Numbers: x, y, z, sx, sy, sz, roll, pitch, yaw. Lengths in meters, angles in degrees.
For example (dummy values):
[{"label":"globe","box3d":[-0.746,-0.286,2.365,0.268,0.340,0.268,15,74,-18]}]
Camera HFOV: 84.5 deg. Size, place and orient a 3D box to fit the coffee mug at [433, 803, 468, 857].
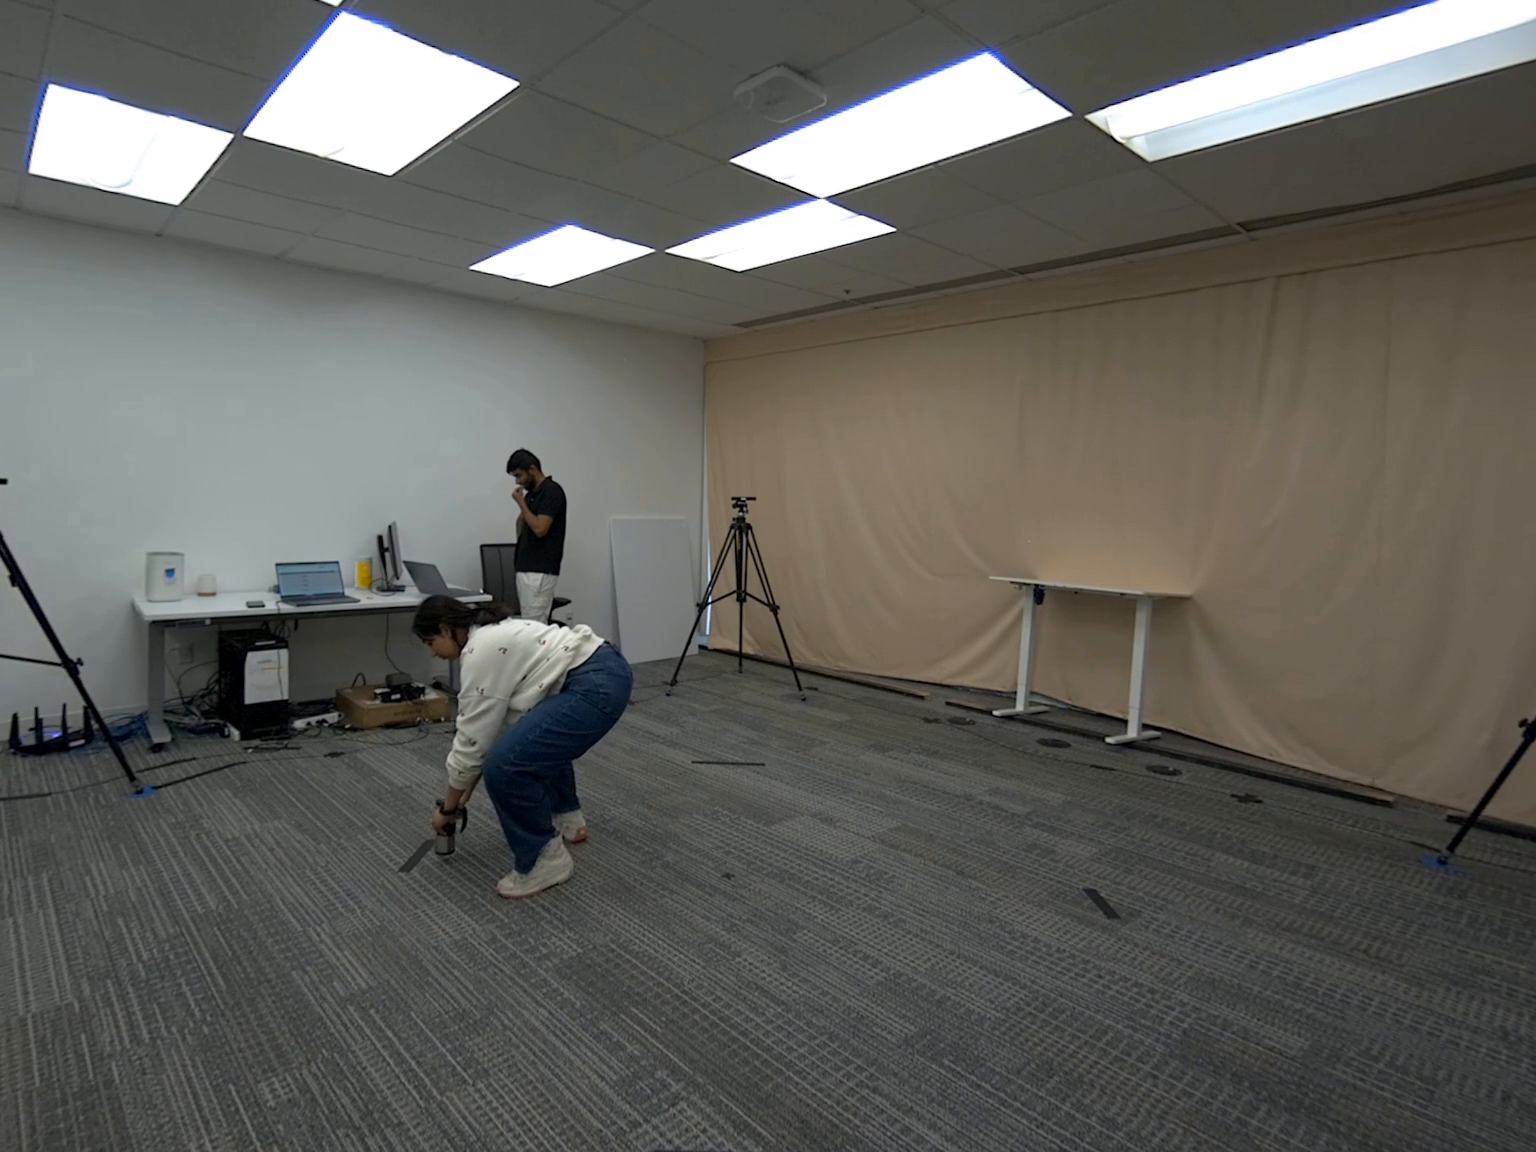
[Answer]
[{"label":"coffee mug","box3d":[-1.243,0.946,3.196,0.086,0.202,0.125,0,14,-44]}]
